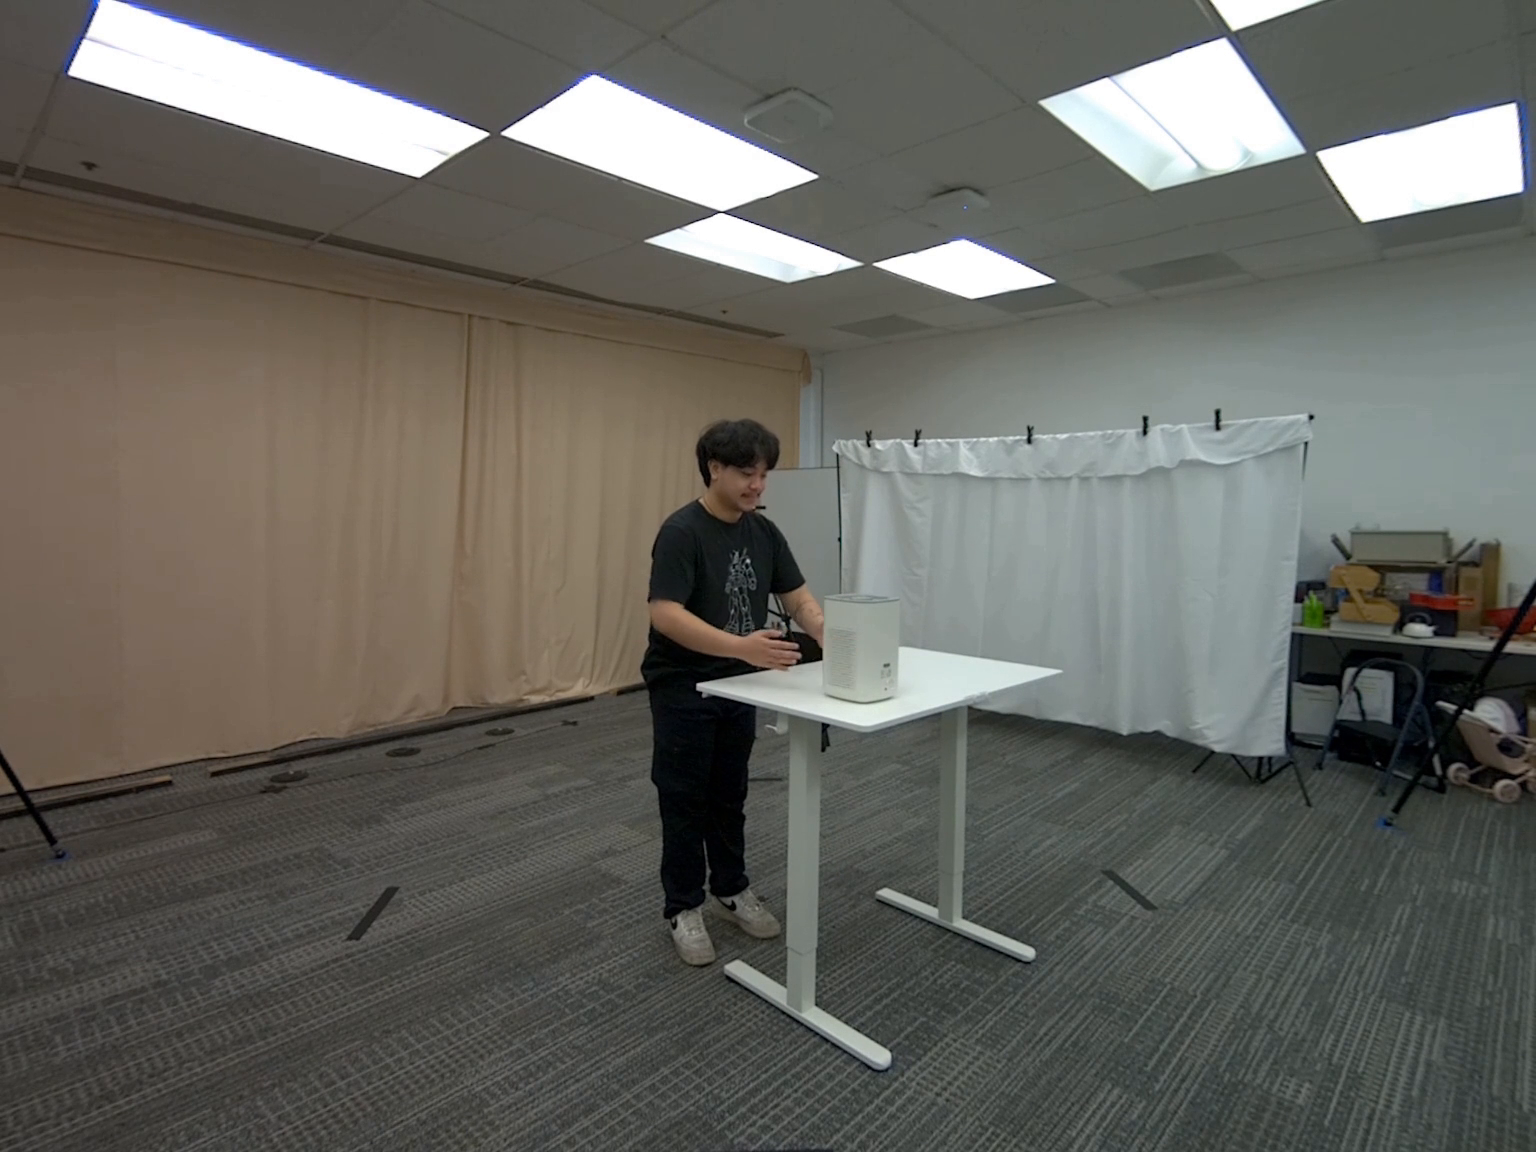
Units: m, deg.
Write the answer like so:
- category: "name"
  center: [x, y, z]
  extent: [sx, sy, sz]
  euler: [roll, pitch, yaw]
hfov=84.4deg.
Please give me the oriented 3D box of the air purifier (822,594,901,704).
- category: "air purifier"
  center: [0.250, 0.190, 2.226]
  extent: [0.166, 0.265, 0.177]
  euler: [-2, 6, -45]
